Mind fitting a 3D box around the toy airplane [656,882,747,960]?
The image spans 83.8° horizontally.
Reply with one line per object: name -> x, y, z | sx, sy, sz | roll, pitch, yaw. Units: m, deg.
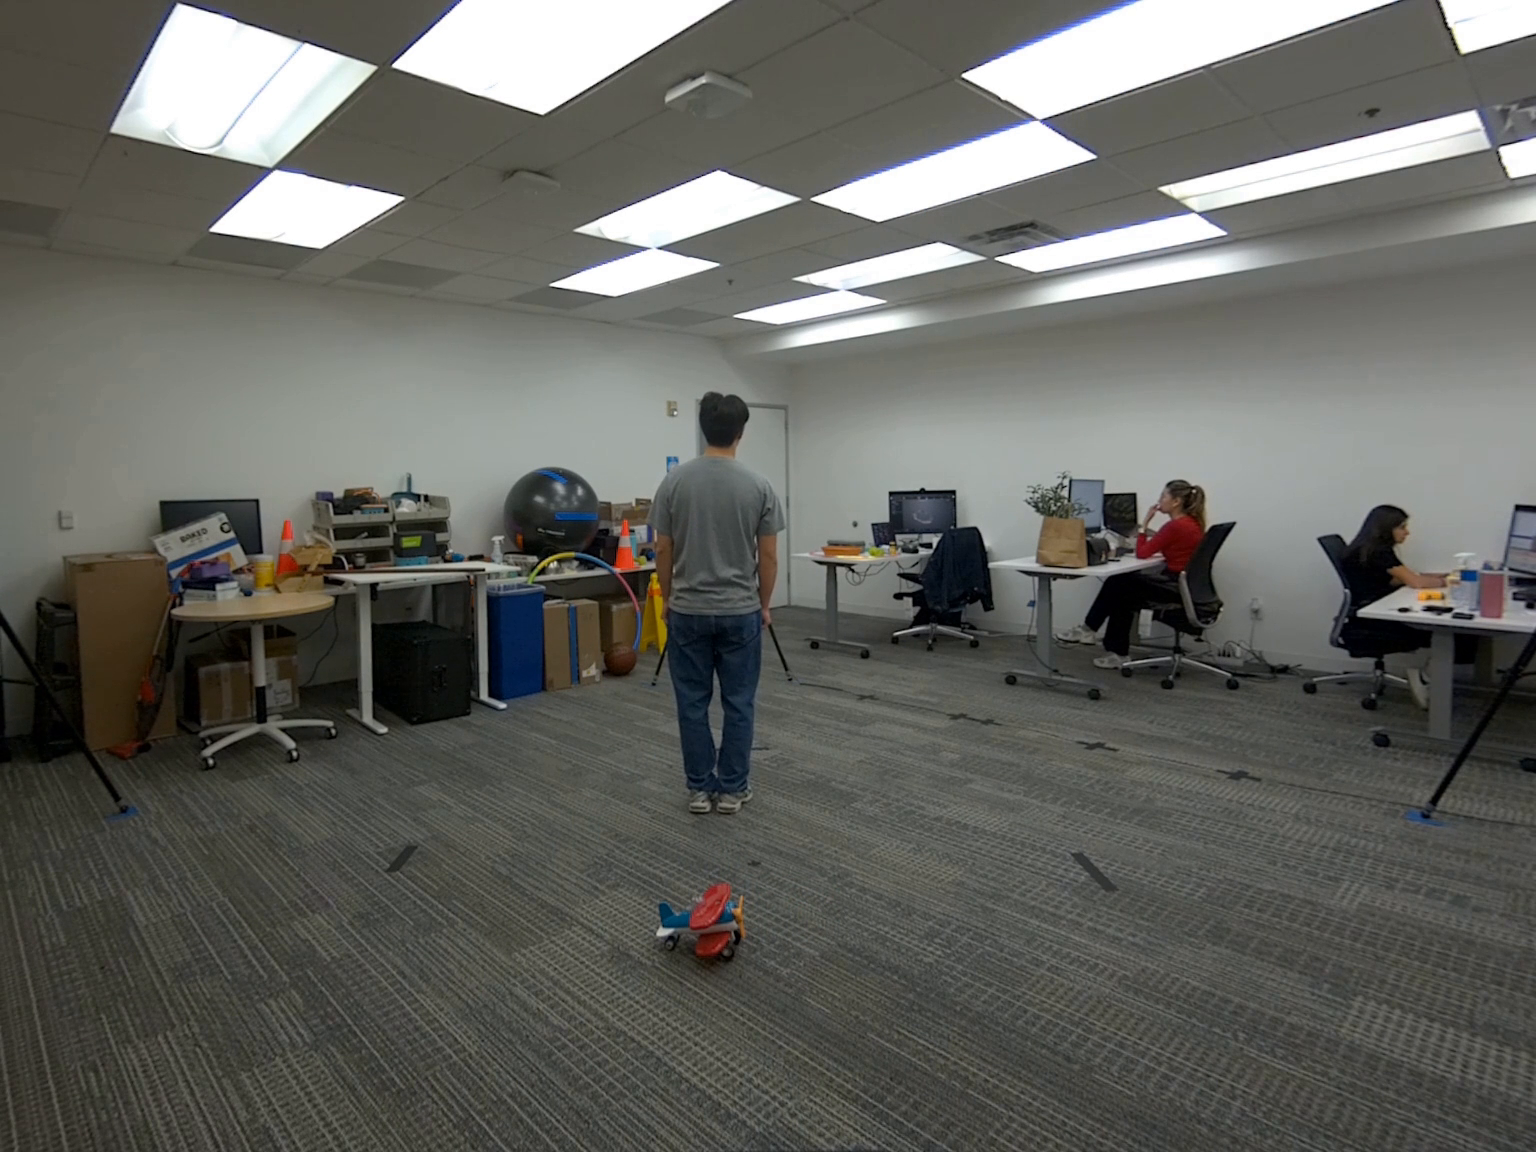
toy airplane -> -0.201, 1.048, 2.526 | 0.256, 0.156, 0.255 | -2, 5, -15
